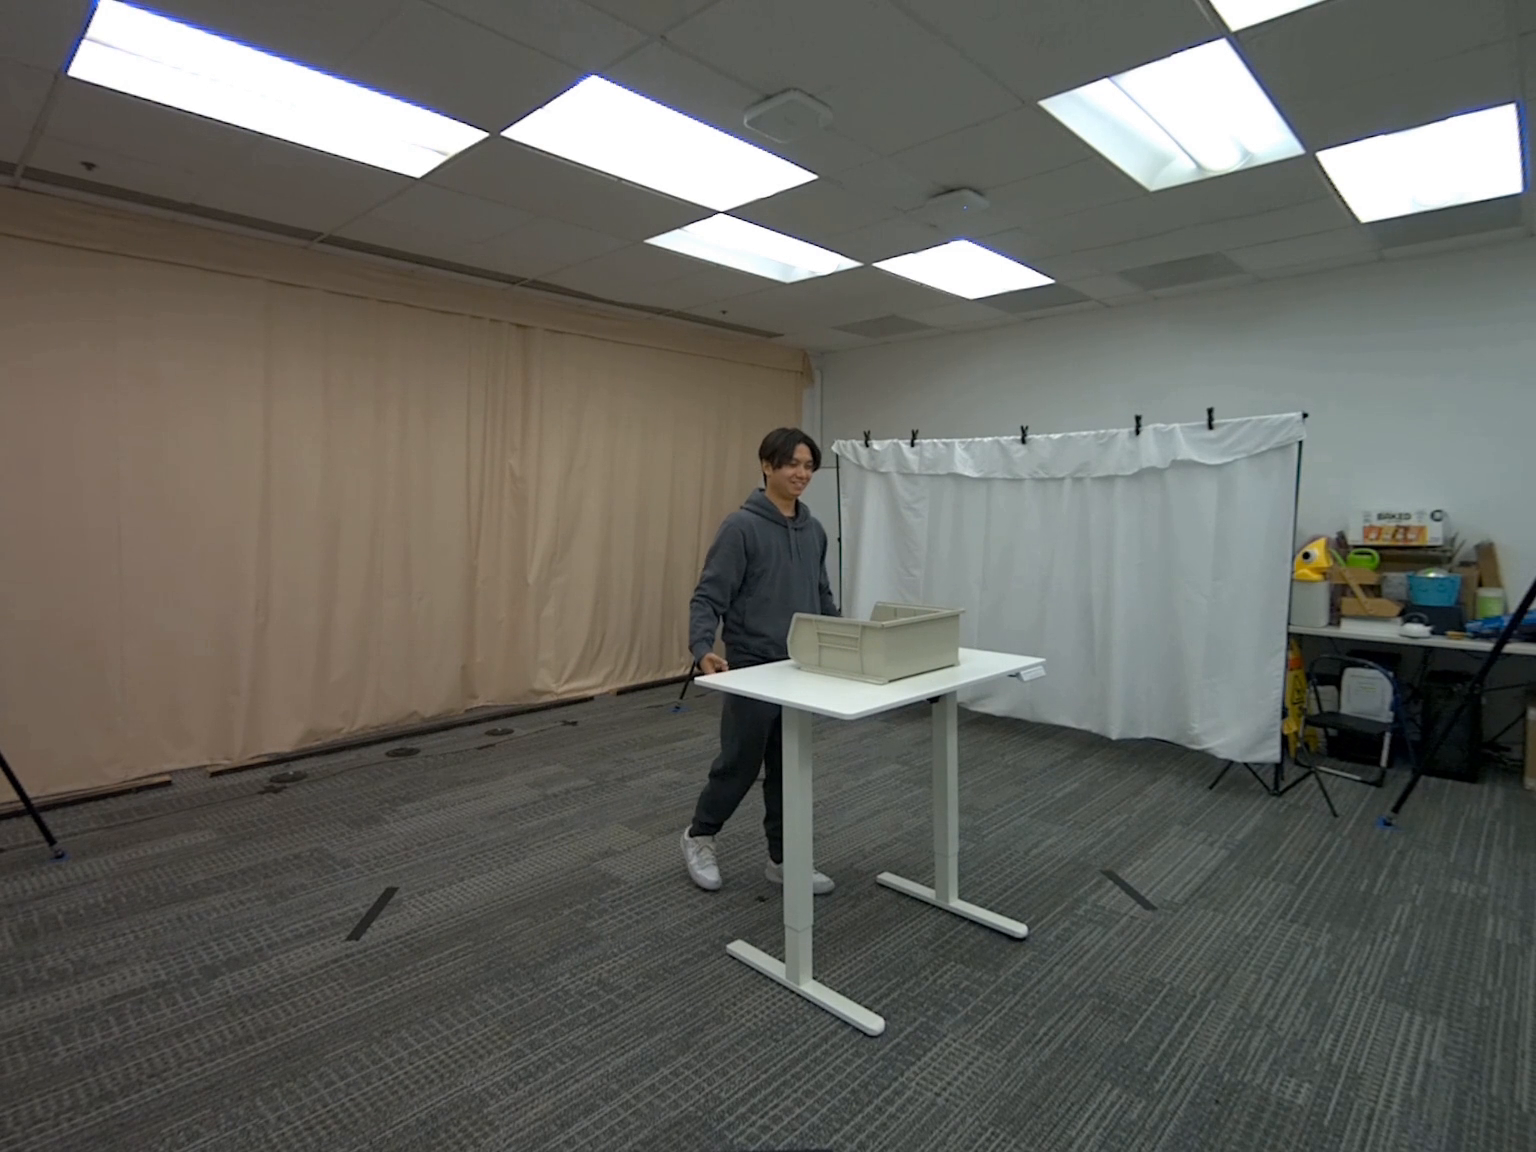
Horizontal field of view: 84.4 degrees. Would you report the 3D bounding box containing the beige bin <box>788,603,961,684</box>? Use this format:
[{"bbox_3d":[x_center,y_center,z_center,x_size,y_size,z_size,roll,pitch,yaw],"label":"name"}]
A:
[{"bbox_3d":[0.336,0.199,2.649,0.409,0.188,0.390,-4,6,-43],"label":"beige bin"}]
